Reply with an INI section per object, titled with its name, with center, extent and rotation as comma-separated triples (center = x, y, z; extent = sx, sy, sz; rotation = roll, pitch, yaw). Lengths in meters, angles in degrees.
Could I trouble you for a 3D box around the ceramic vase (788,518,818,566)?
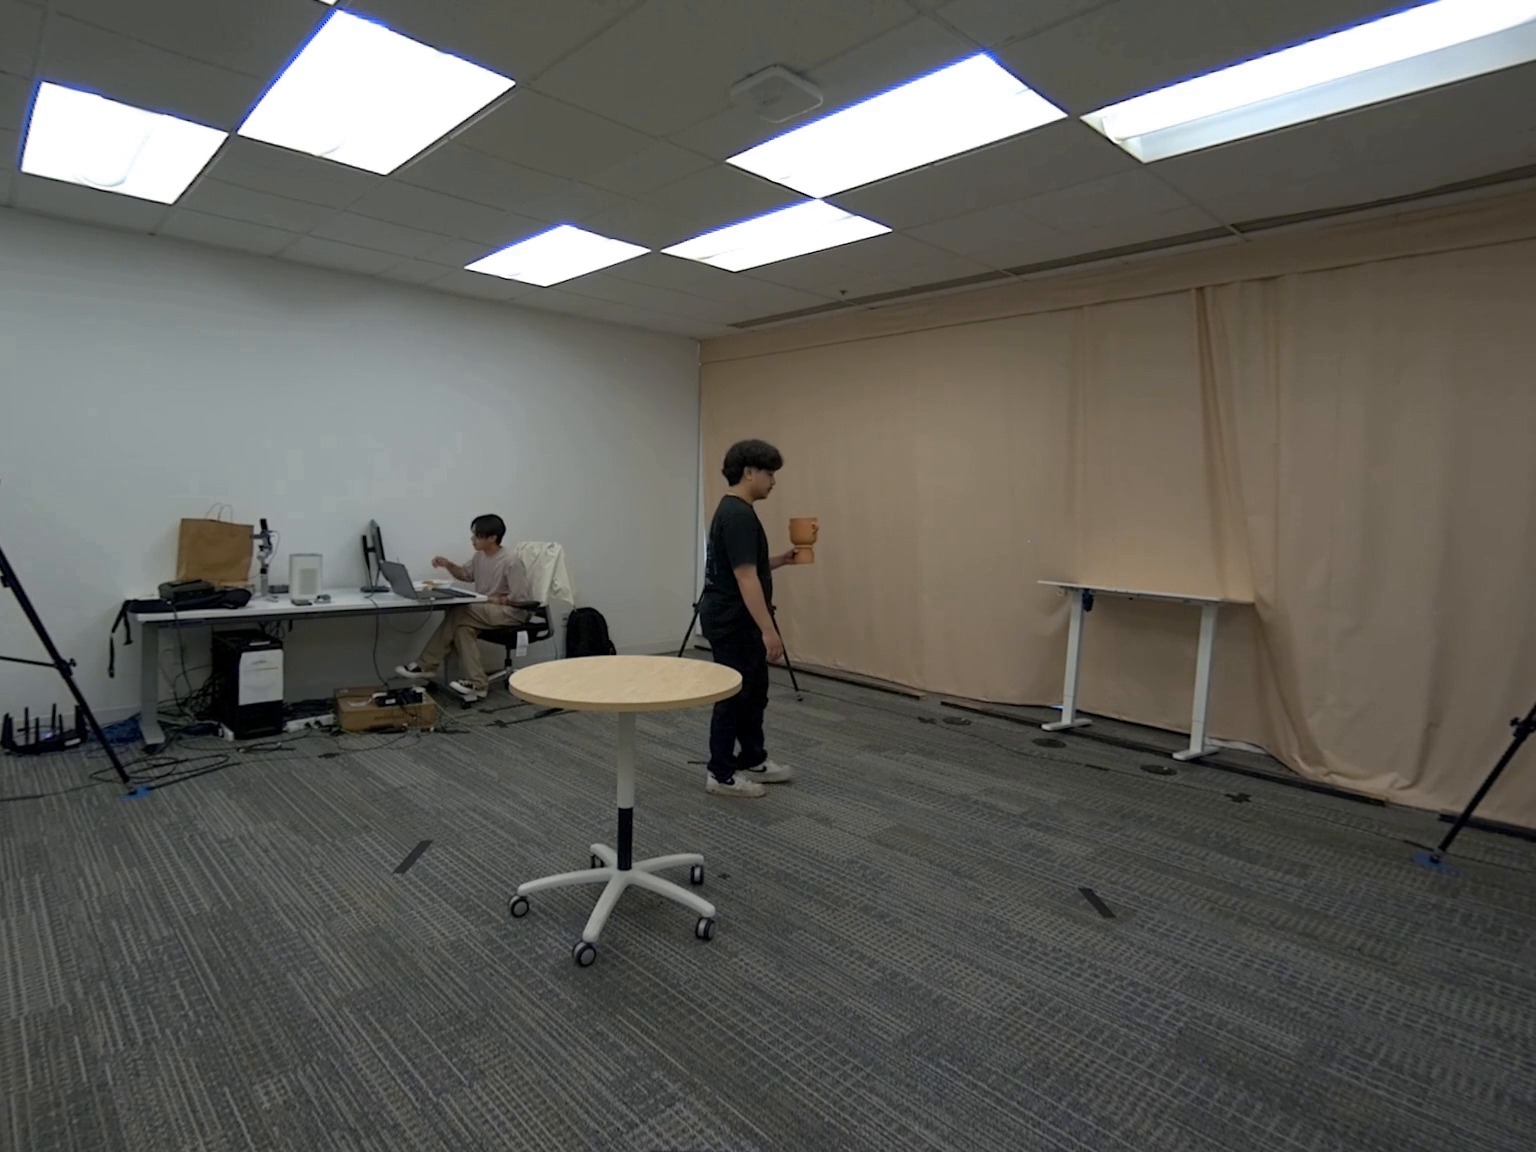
[ceramic vase]
center = 0.166, -0.169, 4.040
extent = 0.135, 0.219, 0.158
rotation = 0, 2, 3
